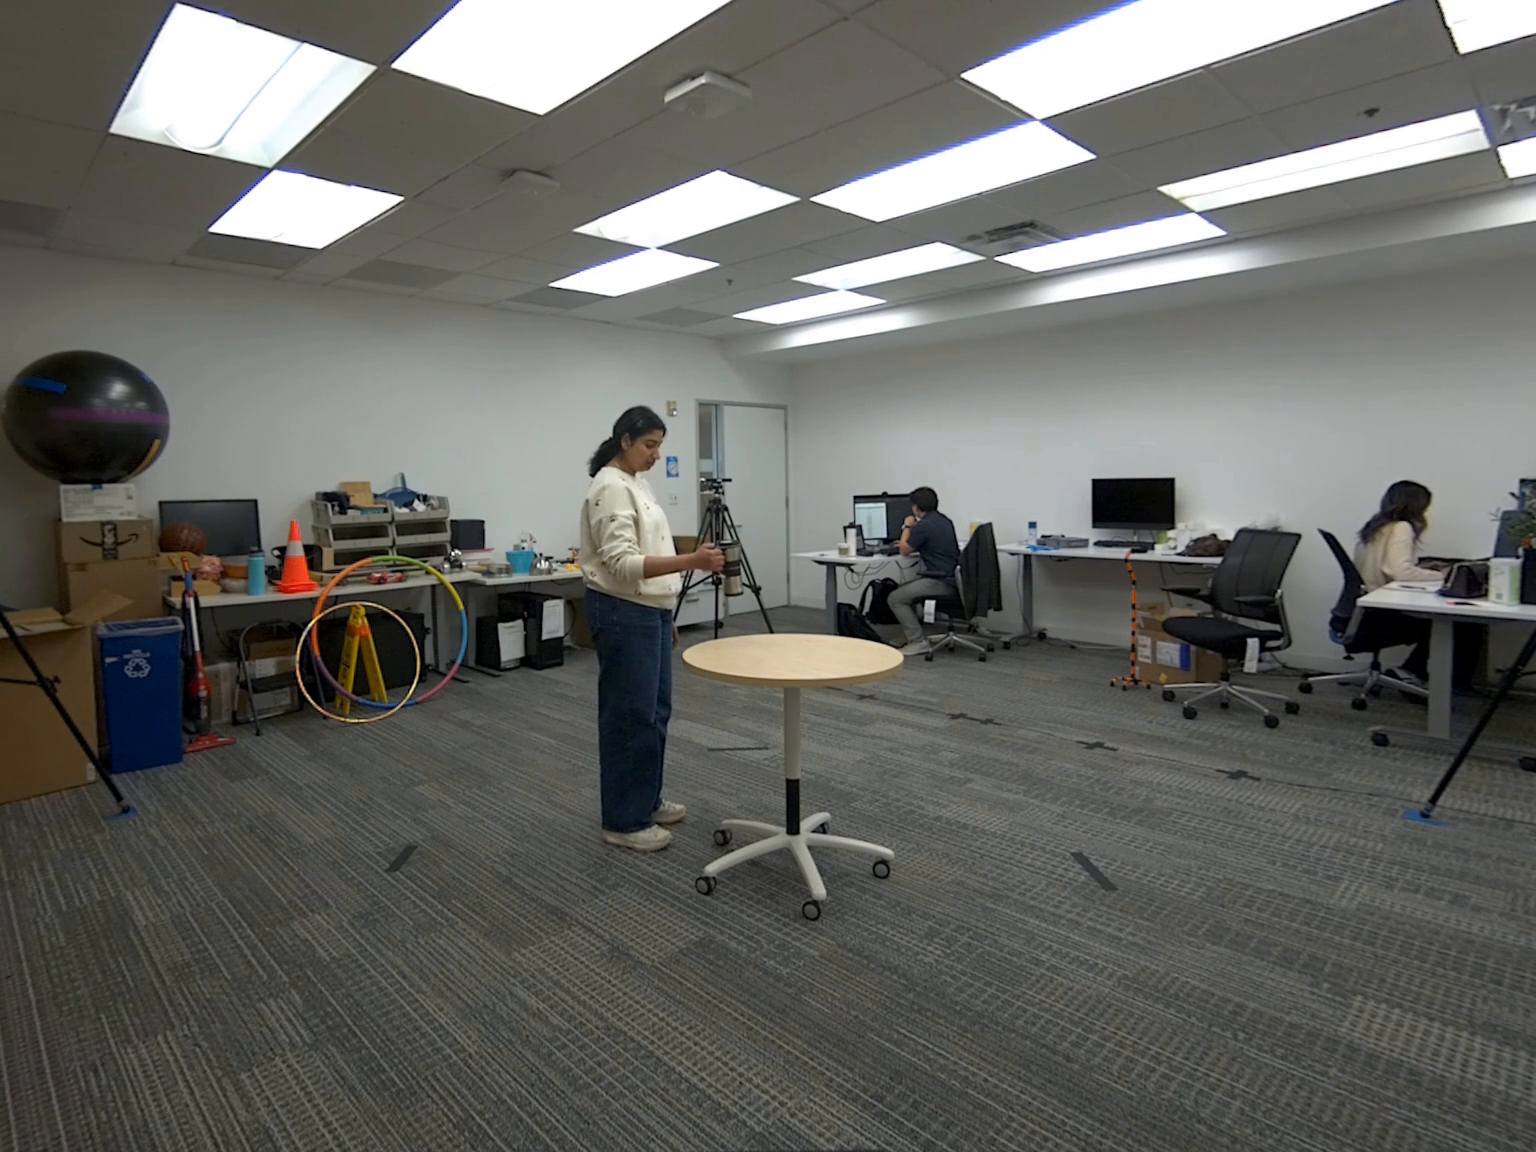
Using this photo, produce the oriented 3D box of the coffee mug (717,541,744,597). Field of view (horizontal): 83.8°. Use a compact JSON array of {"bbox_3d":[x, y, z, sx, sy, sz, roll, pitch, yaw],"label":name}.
[{"bbox_3d":[-0.155,-0.027,3.126,0.124,0.201,0.087,2,12,21],"label":"coffee mug"}]
